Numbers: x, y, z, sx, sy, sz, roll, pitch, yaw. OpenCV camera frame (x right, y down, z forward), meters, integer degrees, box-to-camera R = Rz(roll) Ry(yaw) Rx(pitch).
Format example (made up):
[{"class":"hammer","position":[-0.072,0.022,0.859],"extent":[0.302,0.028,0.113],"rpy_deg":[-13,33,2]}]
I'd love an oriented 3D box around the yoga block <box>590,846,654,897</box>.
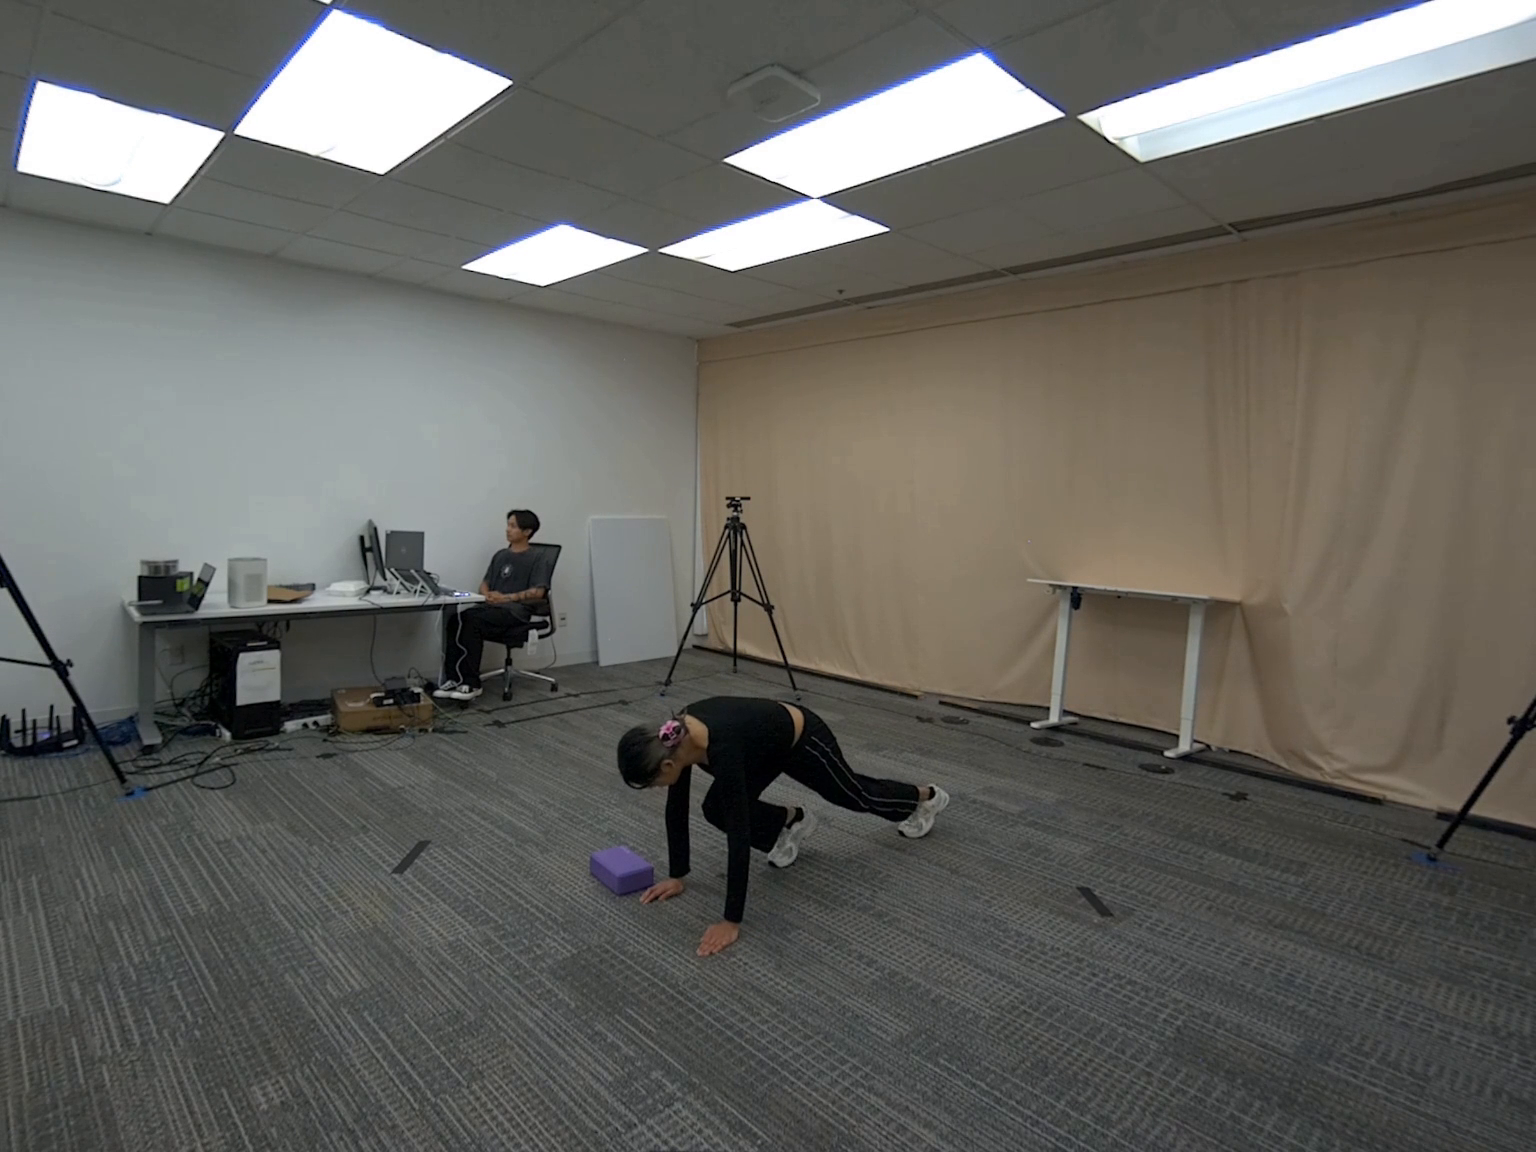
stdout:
[{"class":"yoga block","position":[-0.539,1.062,3.052],"extent":[0.146,0.076,0.235],"rpy_deg":[-4,7,-38]}]
